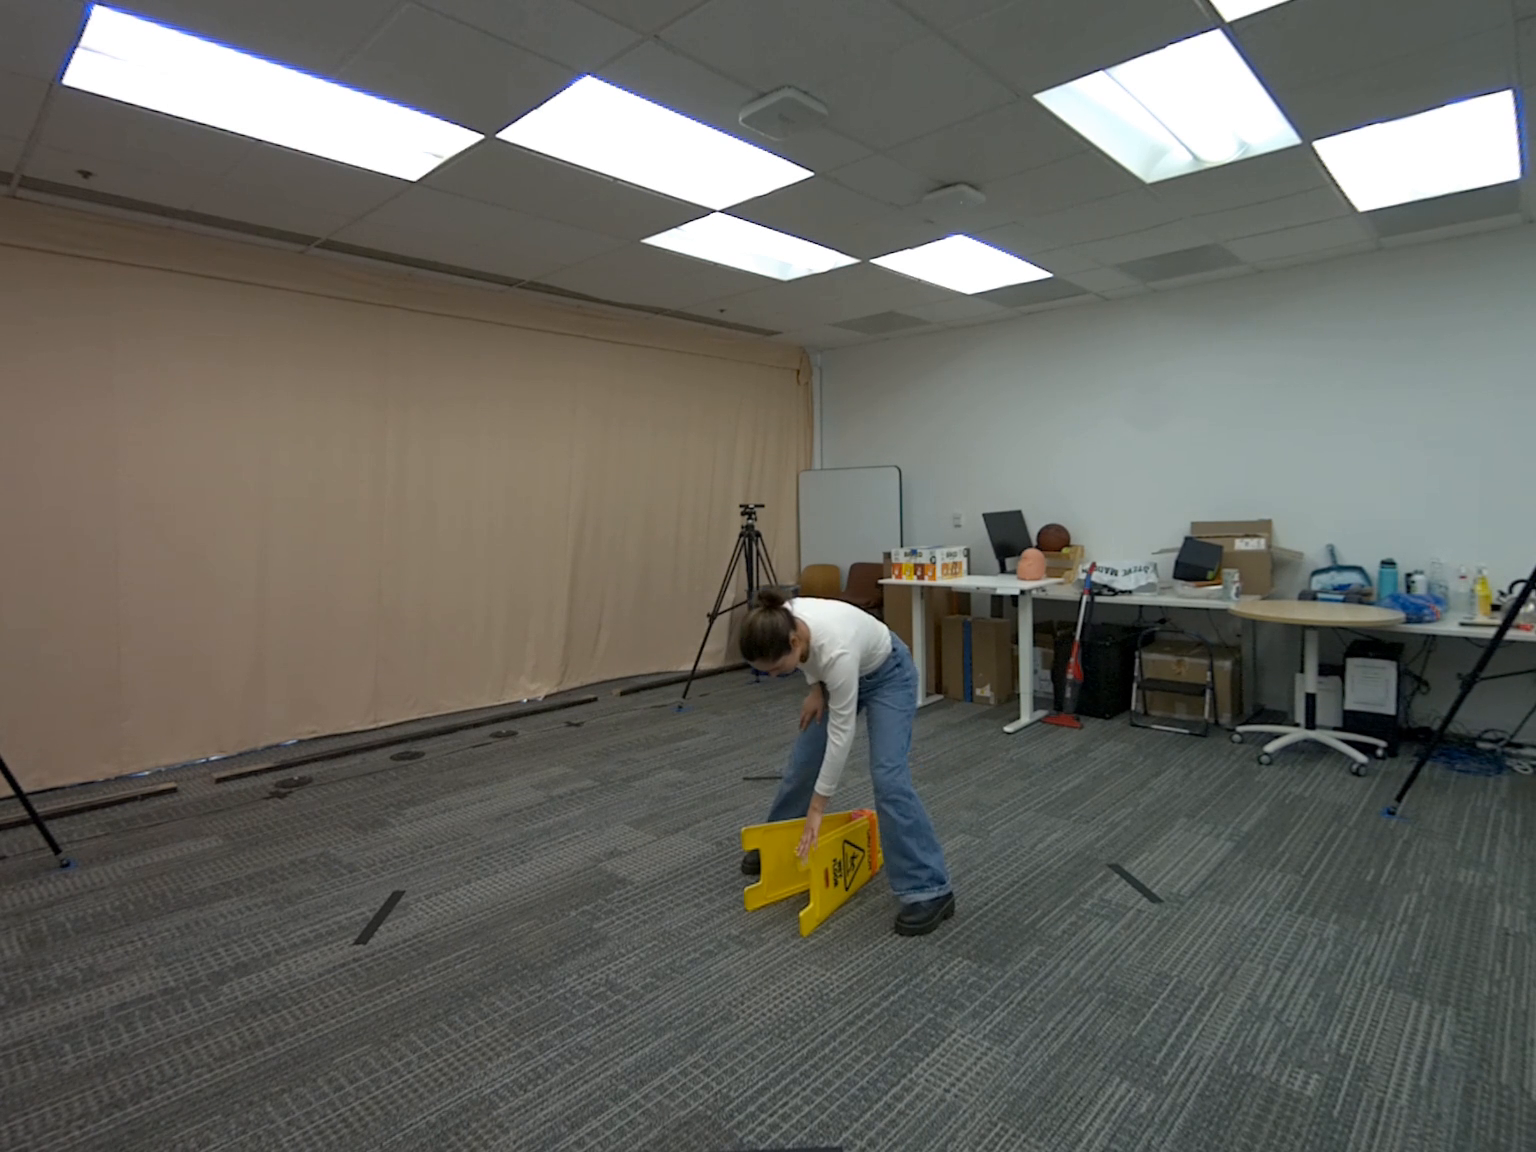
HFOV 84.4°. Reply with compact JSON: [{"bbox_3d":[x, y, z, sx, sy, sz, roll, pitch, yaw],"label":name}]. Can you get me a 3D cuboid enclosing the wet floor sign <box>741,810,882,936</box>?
[{"bbox_3d":[0.233,1.003,3.018,0.626,0.282,0.299,-4,4,-44],"label":"wet floor sign"}]
